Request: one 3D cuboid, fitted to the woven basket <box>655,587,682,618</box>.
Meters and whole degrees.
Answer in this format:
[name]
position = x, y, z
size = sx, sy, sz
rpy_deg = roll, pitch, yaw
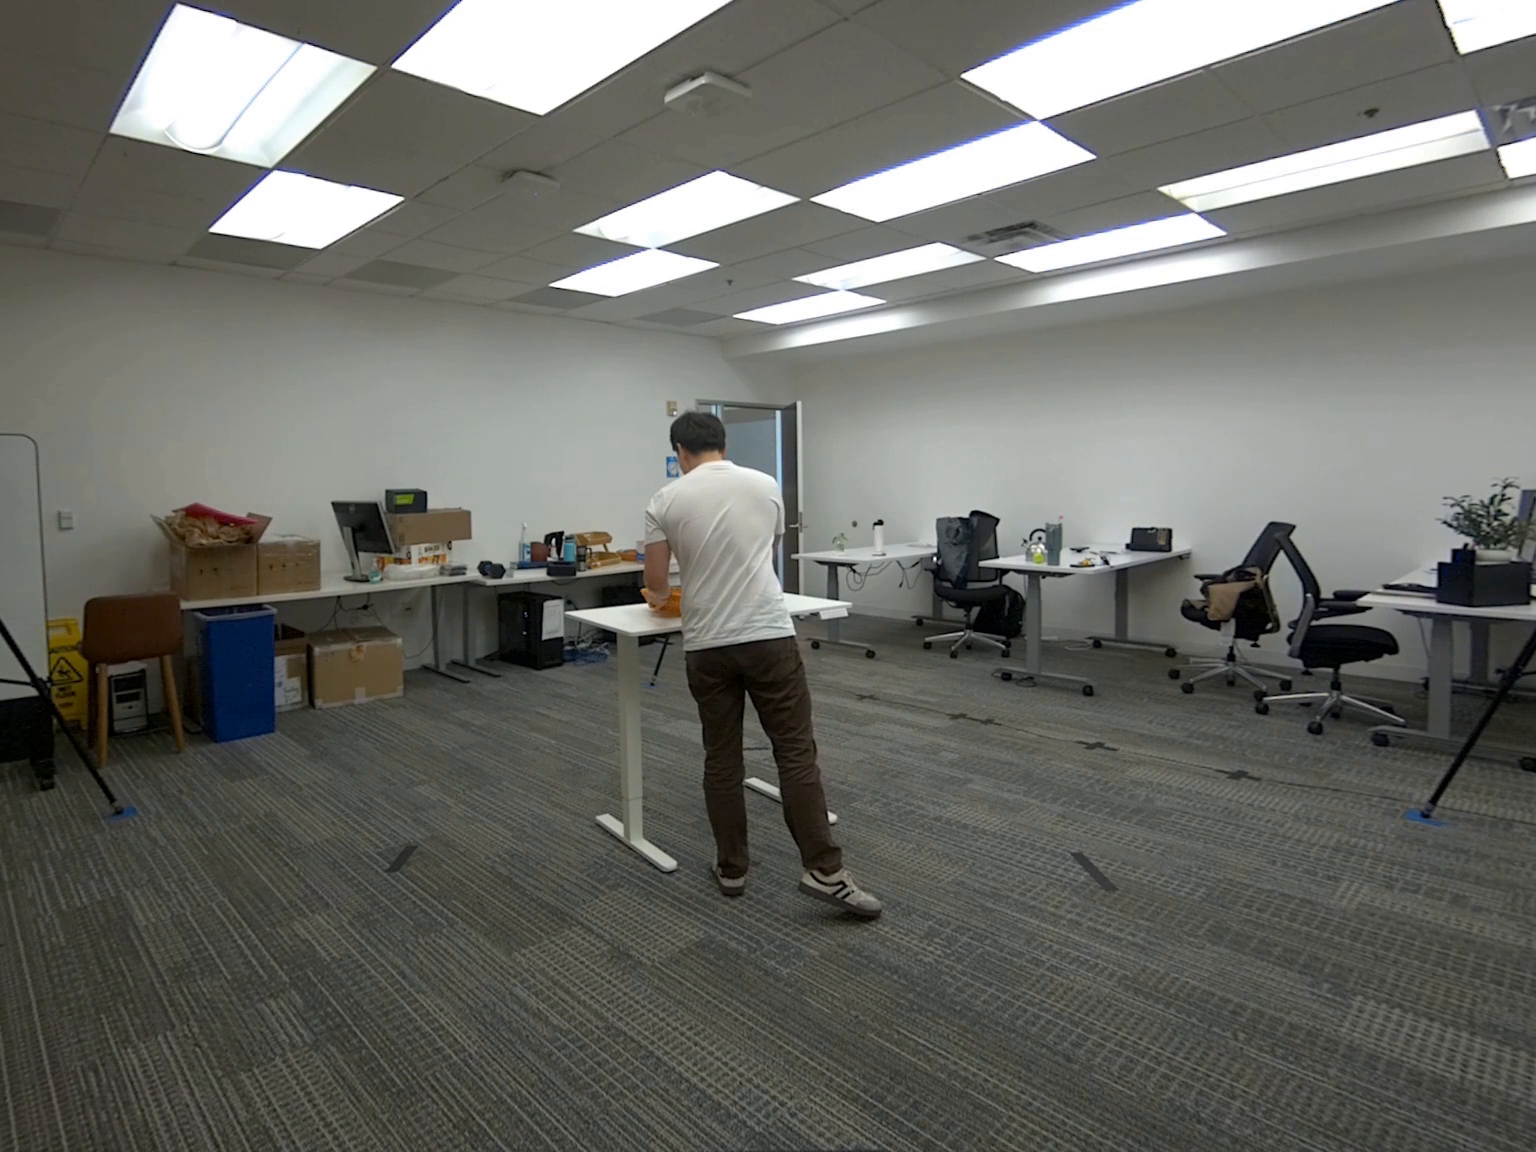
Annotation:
[woven basket]
position = -0.355, 0.097, 3.354
size = 0.247, 0.073, 0.359
rpy_deg = -1, 5, -24
